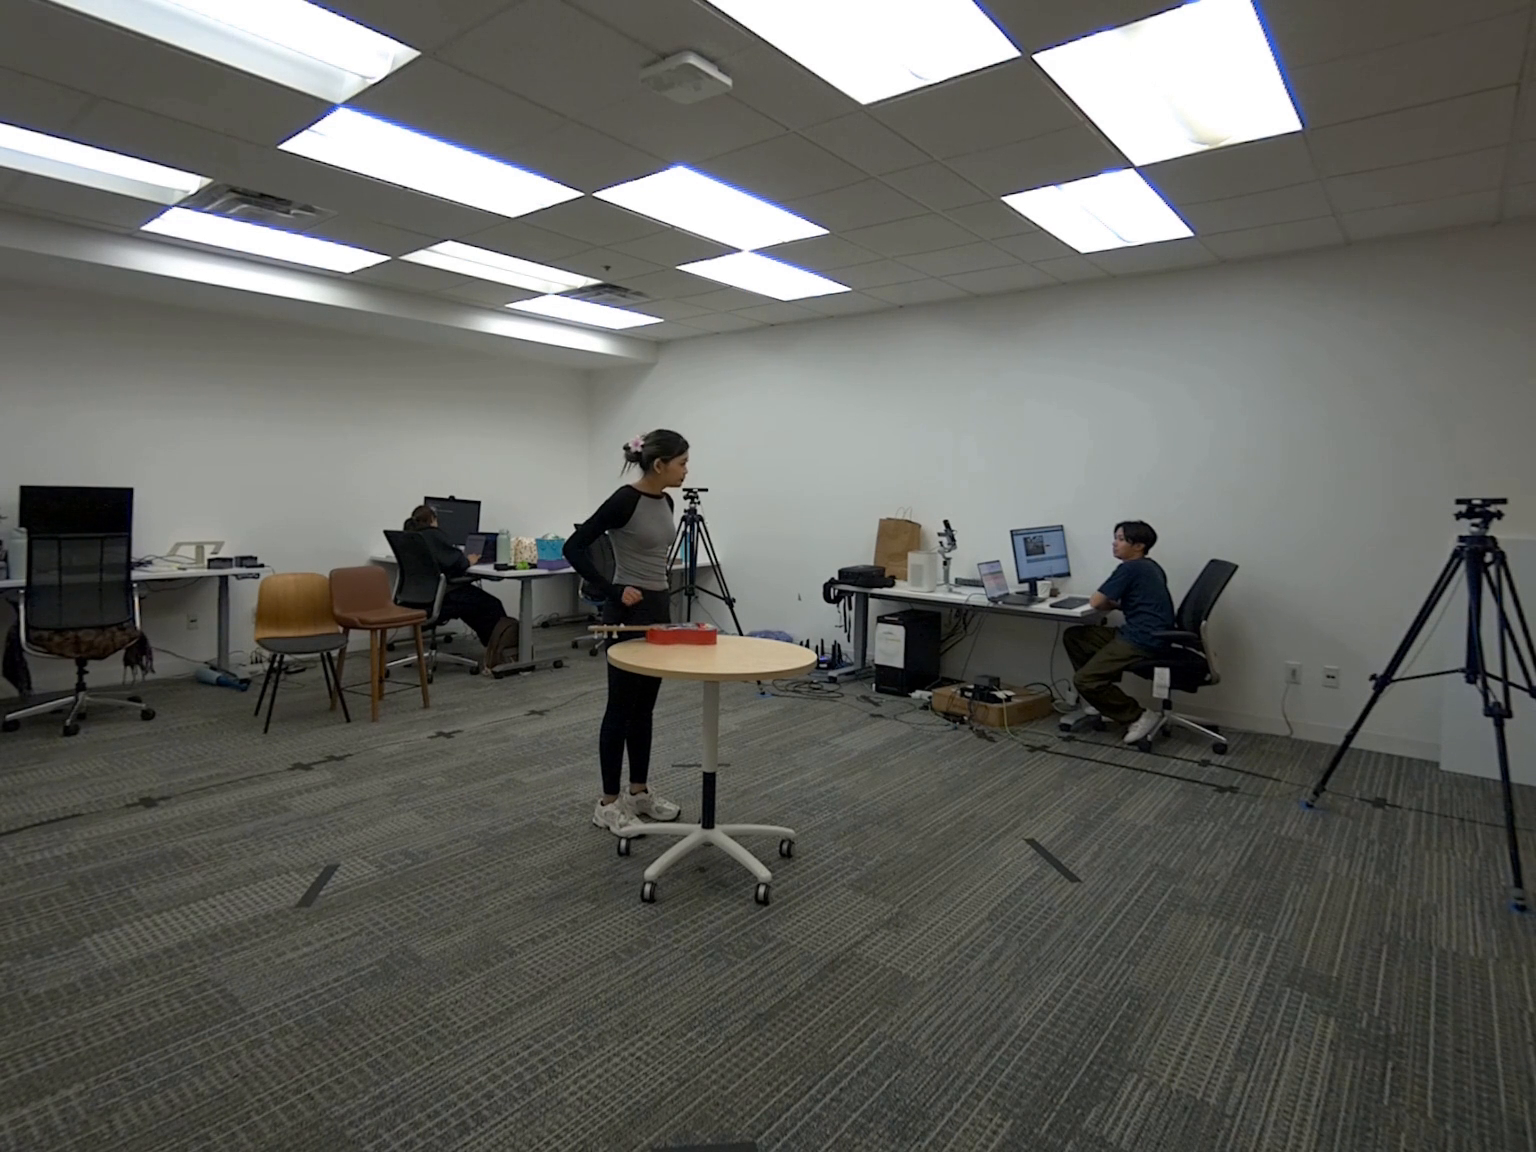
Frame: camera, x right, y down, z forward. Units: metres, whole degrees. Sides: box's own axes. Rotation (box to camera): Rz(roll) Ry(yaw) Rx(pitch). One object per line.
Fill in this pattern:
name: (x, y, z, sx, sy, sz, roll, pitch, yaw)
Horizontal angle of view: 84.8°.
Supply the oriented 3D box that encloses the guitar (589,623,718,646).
guitar: (-0.462, 0.218, 3.318, 0.493, 0.070, 0.196, 1, 5, -9)
